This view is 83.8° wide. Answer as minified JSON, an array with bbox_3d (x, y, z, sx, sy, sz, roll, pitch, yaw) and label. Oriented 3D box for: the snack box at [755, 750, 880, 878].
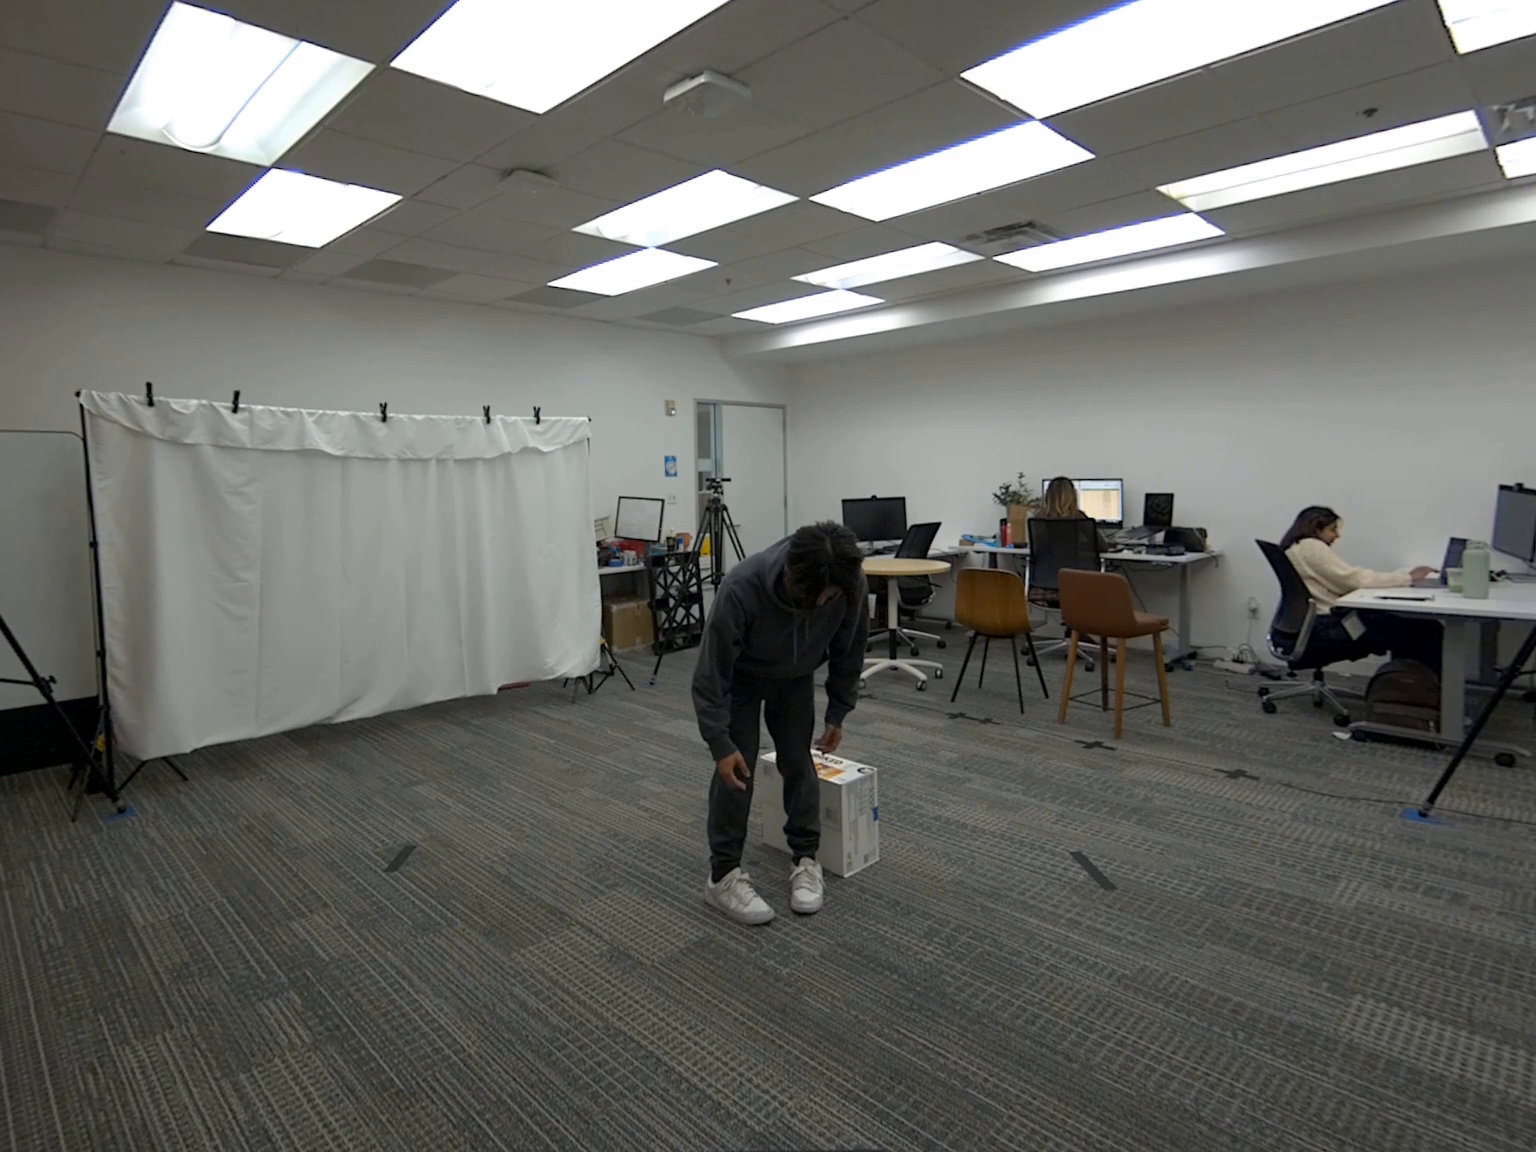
[{"bbox_3d":[0.192,0.862,3.179,0.200,0.339,0.418,-7,8,-43],"label":"snack box"}]
